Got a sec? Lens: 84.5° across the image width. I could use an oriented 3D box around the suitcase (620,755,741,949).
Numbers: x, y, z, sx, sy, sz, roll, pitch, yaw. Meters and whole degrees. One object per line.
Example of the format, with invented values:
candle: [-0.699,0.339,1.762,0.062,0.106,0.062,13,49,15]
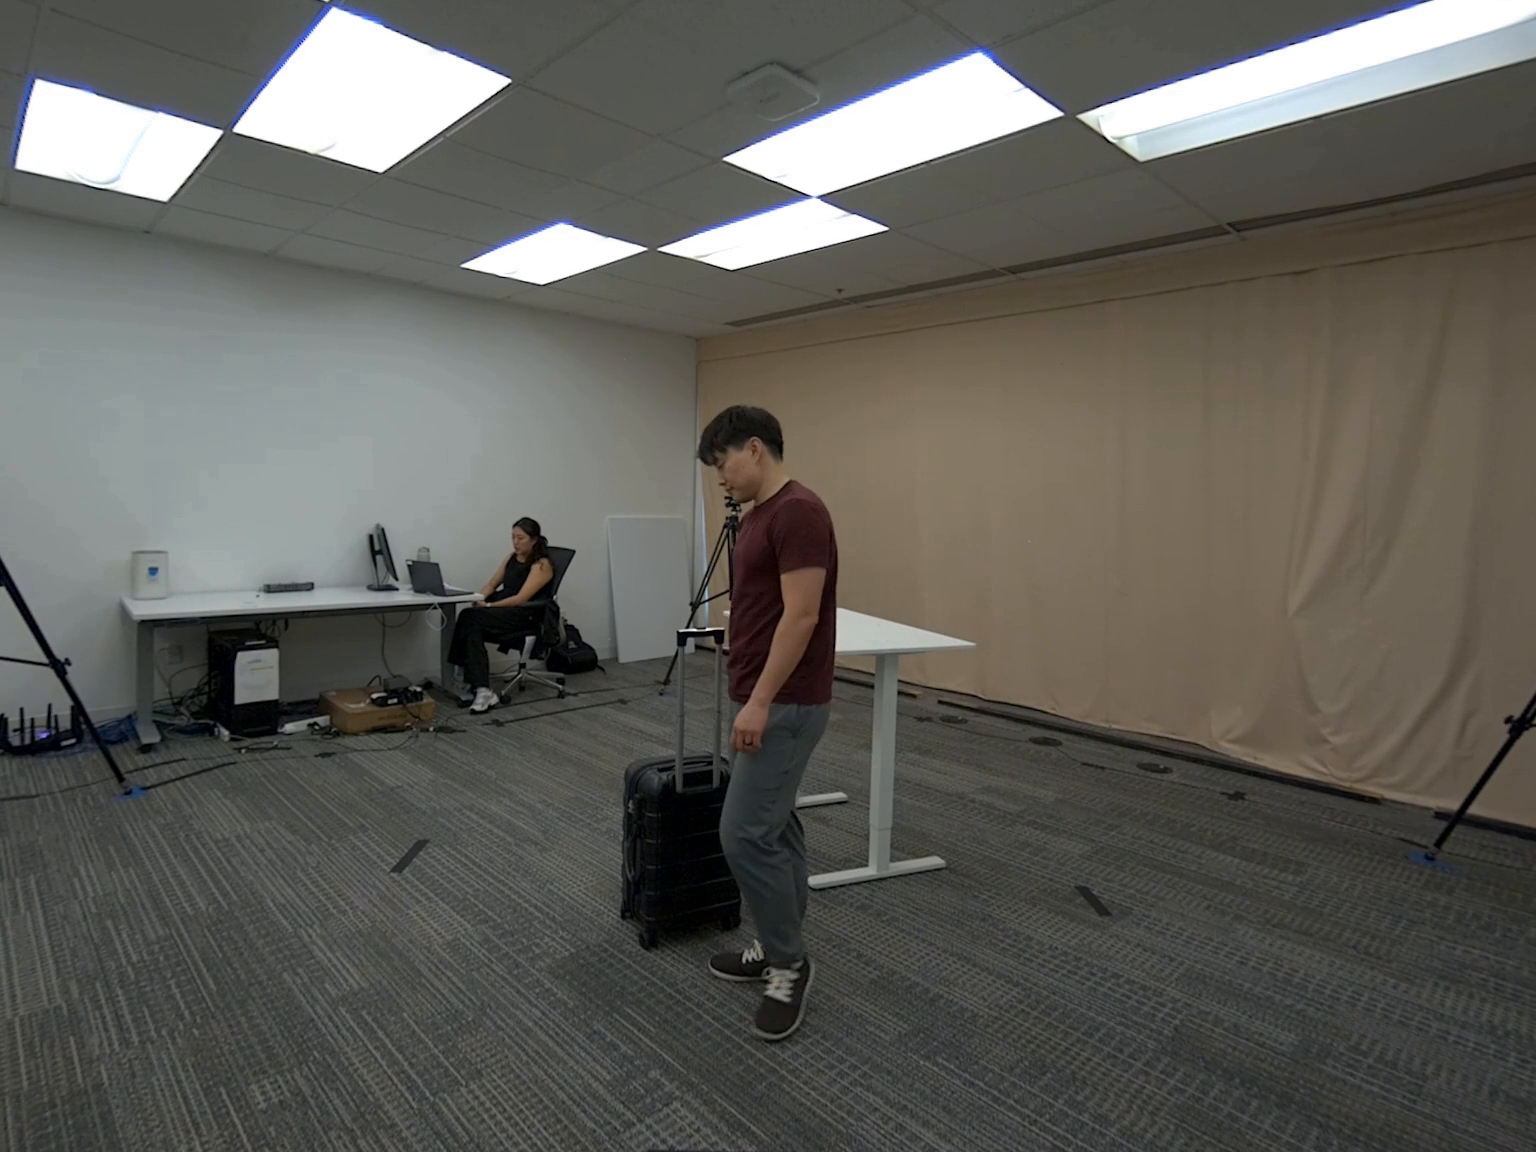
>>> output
suitcase: [-0.283,0.659,2.711,0.377,0.976,0.262,0,3,-24]
